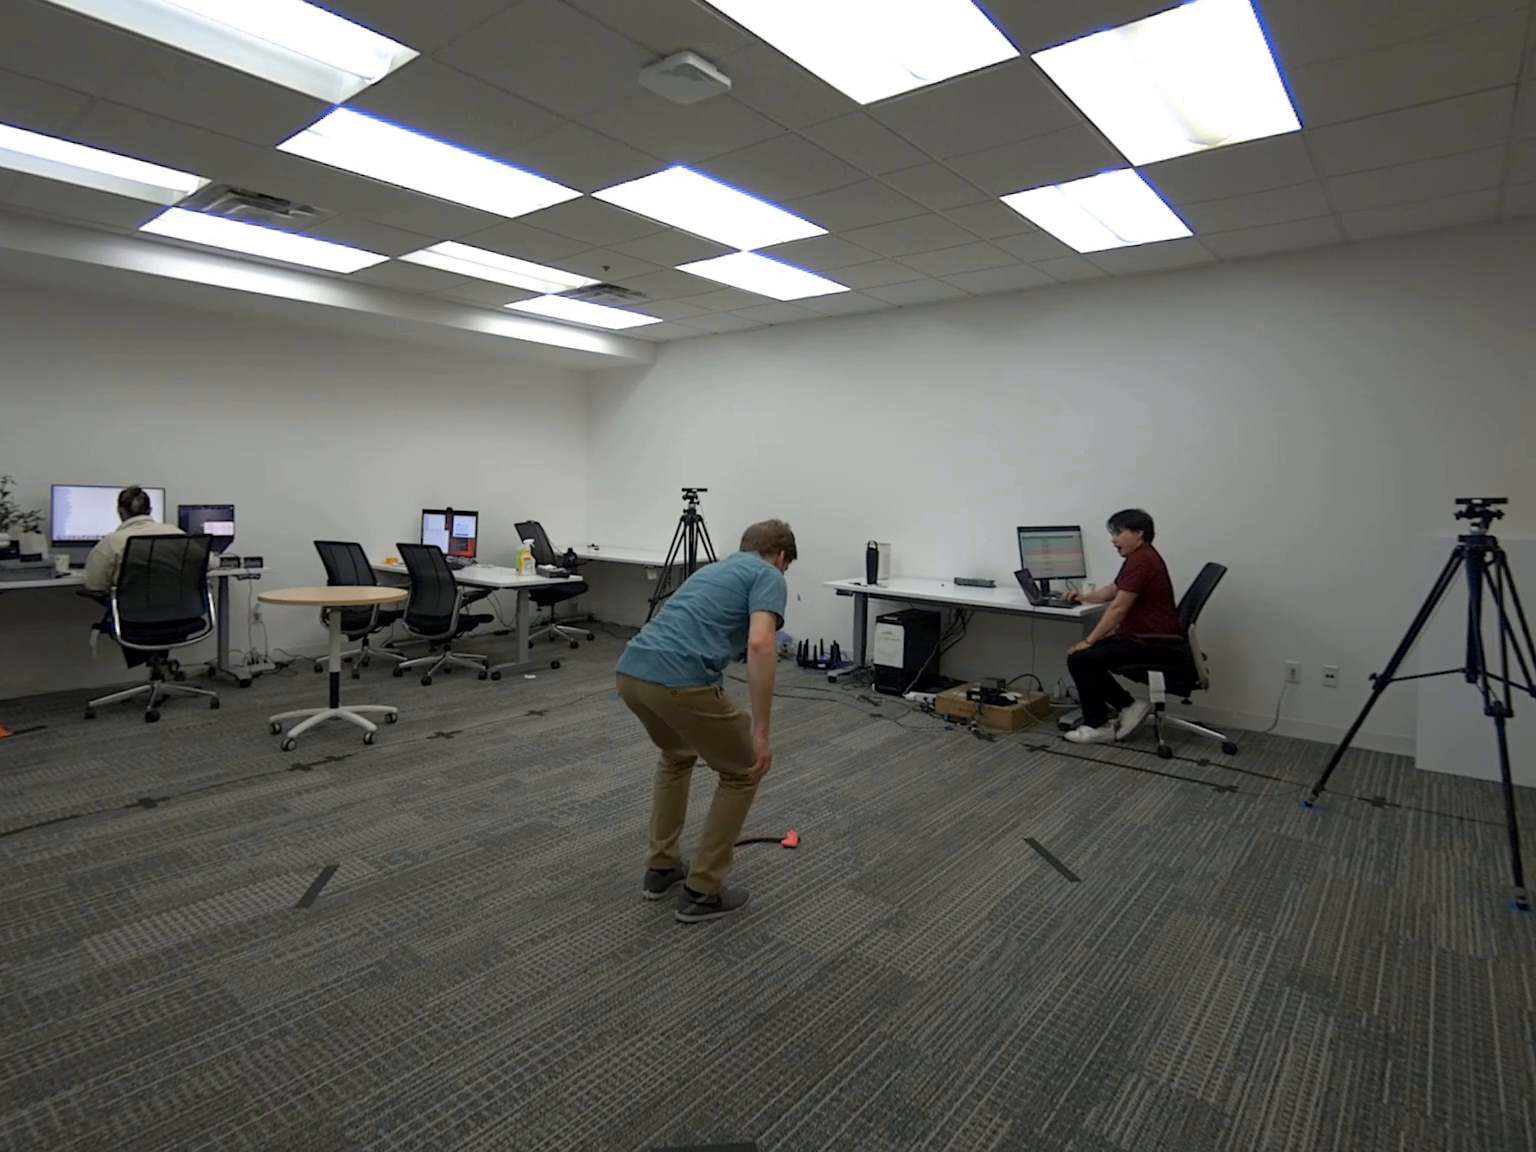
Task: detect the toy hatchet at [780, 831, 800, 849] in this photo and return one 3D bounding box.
[{"bbox_3d":[-0.005,1.043,3.328,0.264,0.029,0.135,-4,9,-22],"label":"toy hatchet"}]
